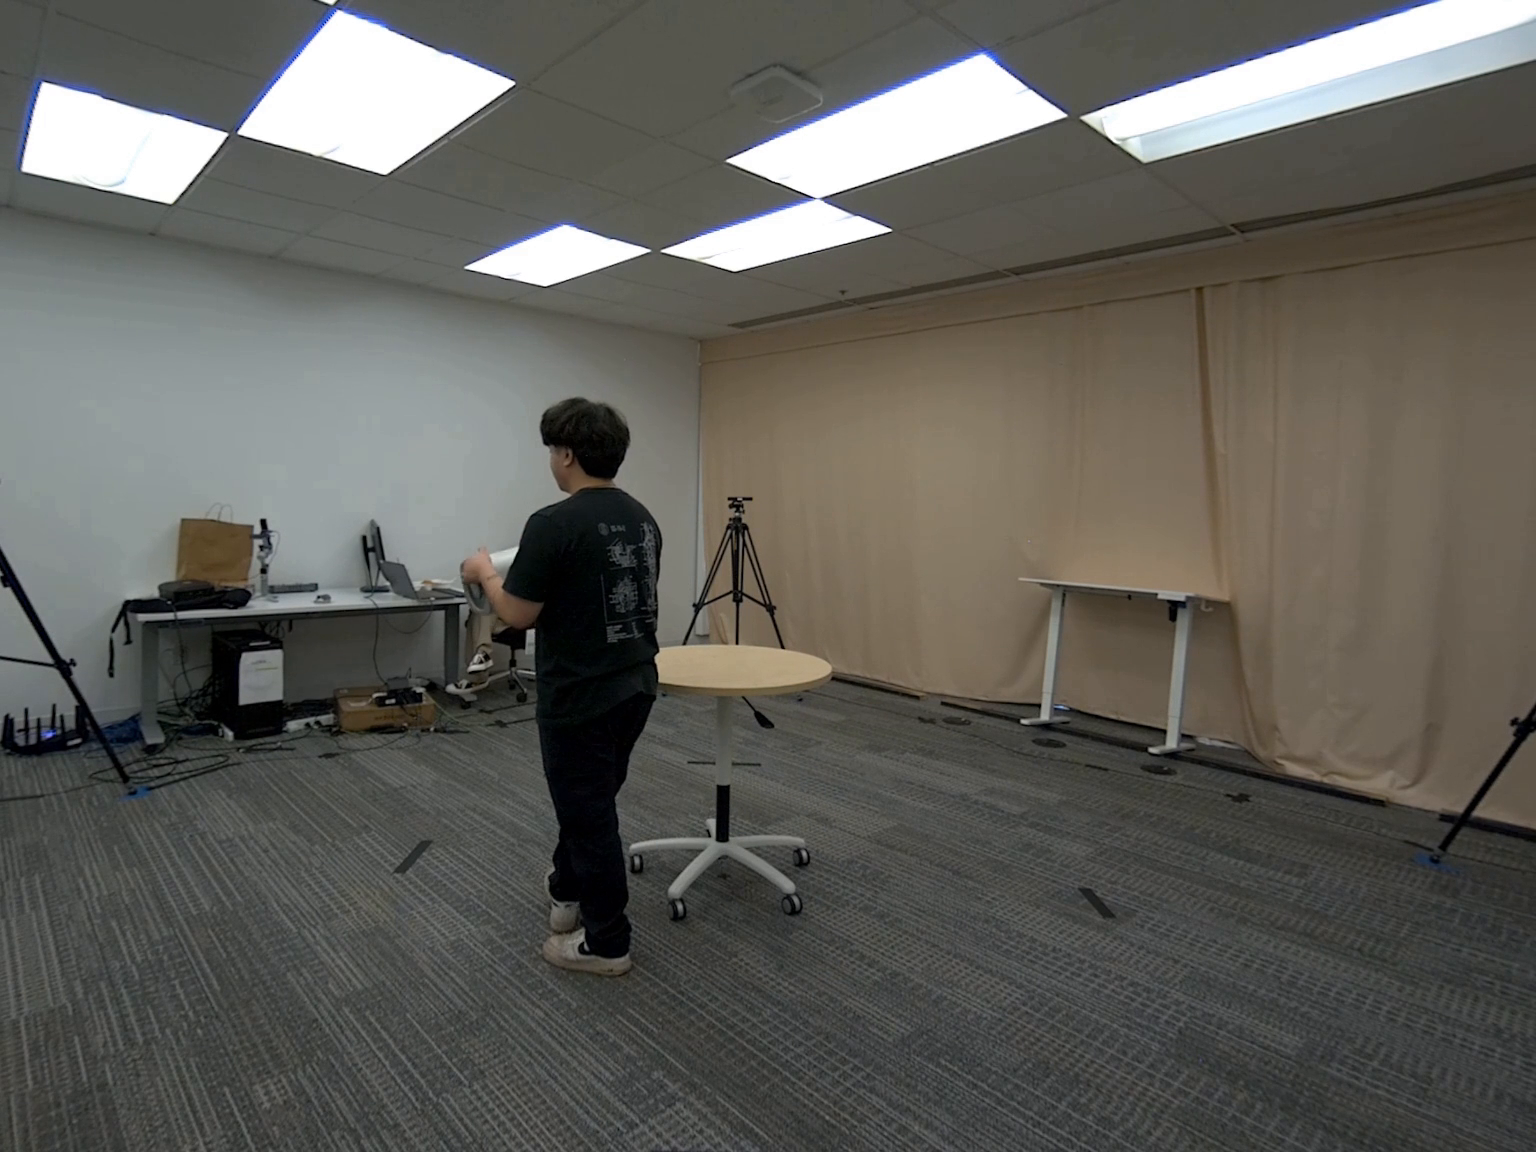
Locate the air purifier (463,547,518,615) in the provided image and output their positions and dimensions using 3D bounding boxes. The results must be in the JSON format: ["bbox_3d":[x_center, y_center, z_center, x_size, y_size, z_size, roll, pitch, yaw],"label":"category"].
[{"bbox_3d":[-0.816,0.006,2.703,0.261,0.169,0.176,-20,17,-41],"label":"air purifier"}]
